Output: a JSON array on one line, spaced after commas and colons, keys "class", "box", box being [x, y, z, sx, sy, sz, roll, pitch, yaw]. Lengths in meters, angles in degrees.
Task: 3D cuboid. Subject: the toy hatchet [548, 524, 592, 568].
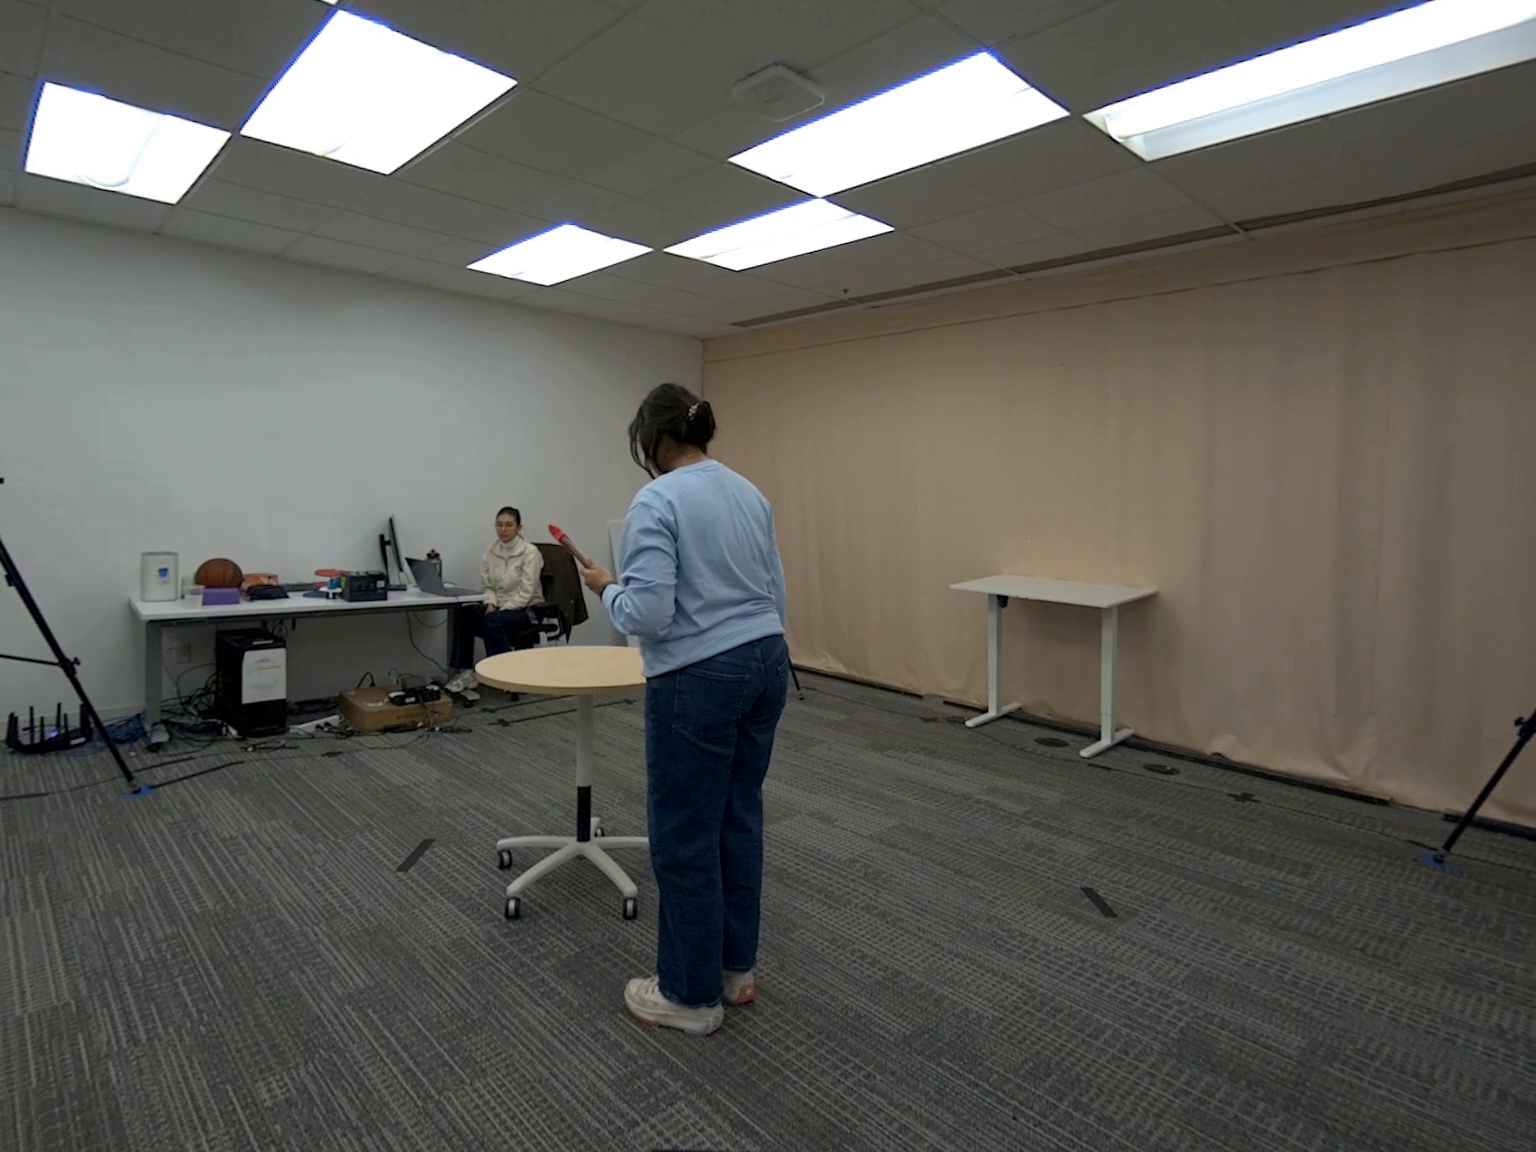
[{"class": "toy hatchet", "box": [-0.521, -0.043, 2.345, 0.274, 0.029, 0.129, 44, -10, 14]}]
